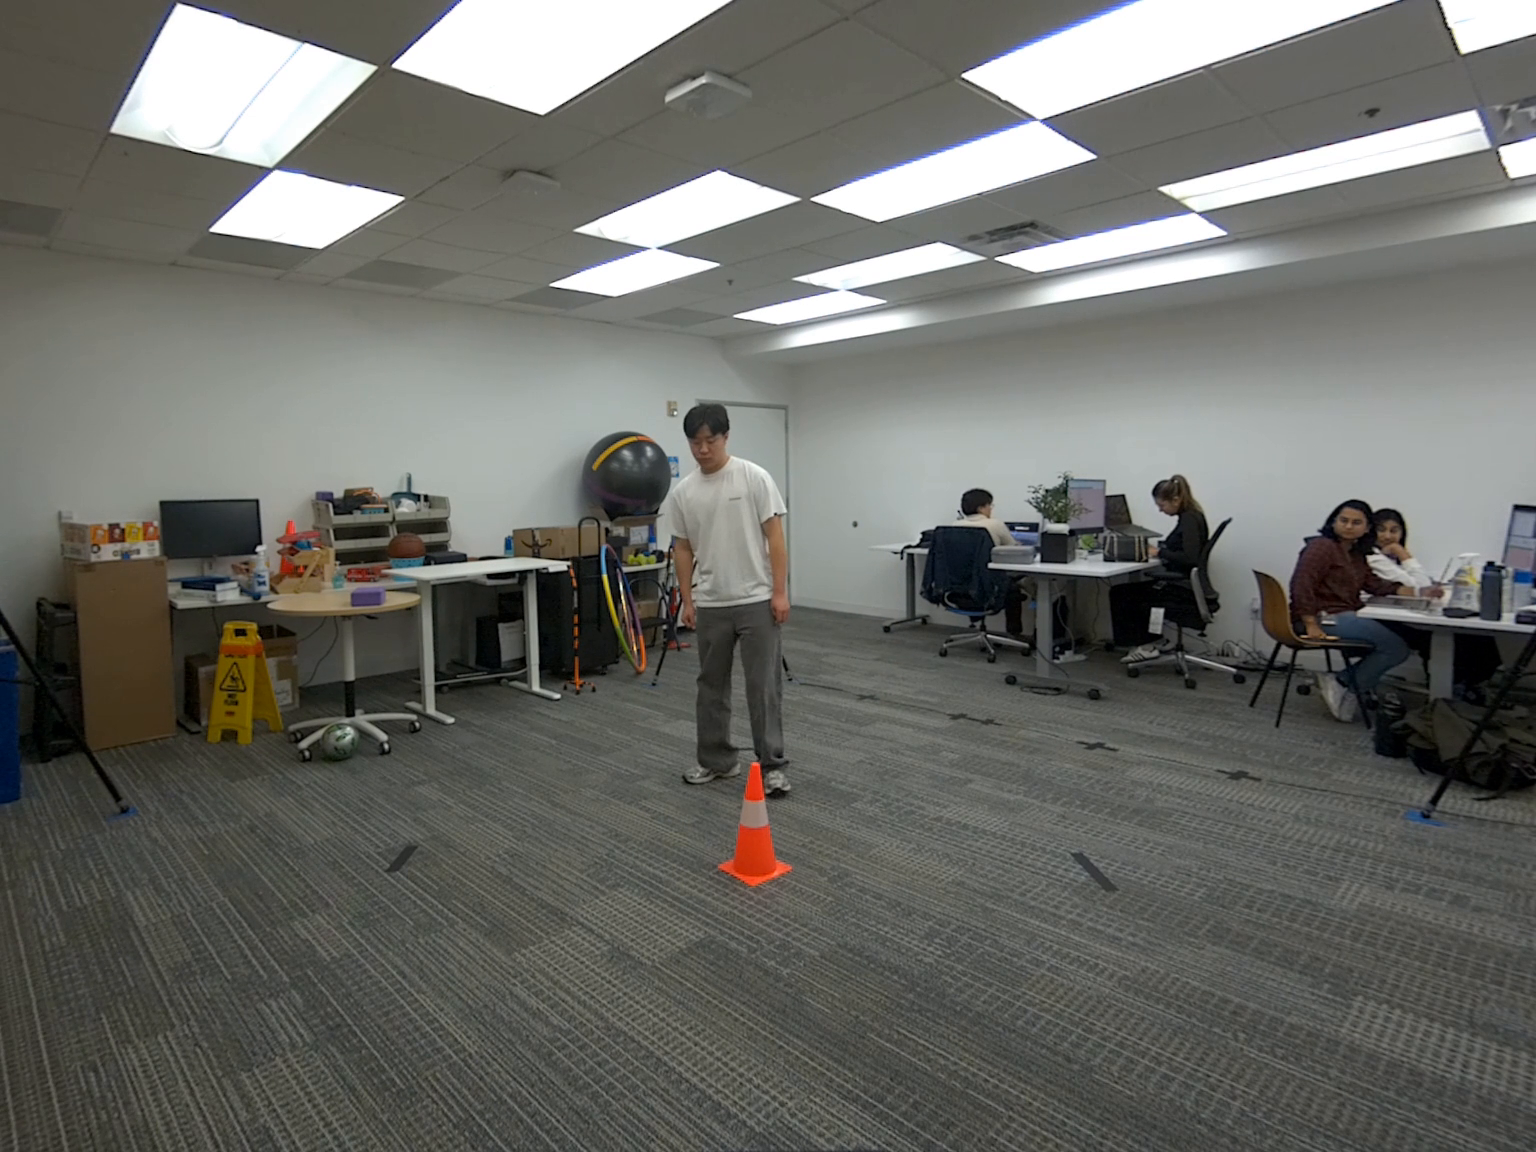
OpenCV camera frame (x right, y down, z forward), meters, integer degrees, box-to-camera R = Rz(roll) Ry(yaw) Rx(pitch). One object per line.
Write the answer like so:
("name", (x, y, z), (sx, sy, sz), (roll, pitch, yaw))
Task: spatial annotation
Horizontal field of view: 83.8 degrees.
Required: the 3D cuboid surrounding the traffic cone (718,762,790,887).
("traffic cone", (-0.048, 0.874, 3.060), (0.198, 0.382, 0.211), (-4, 7, -42))
